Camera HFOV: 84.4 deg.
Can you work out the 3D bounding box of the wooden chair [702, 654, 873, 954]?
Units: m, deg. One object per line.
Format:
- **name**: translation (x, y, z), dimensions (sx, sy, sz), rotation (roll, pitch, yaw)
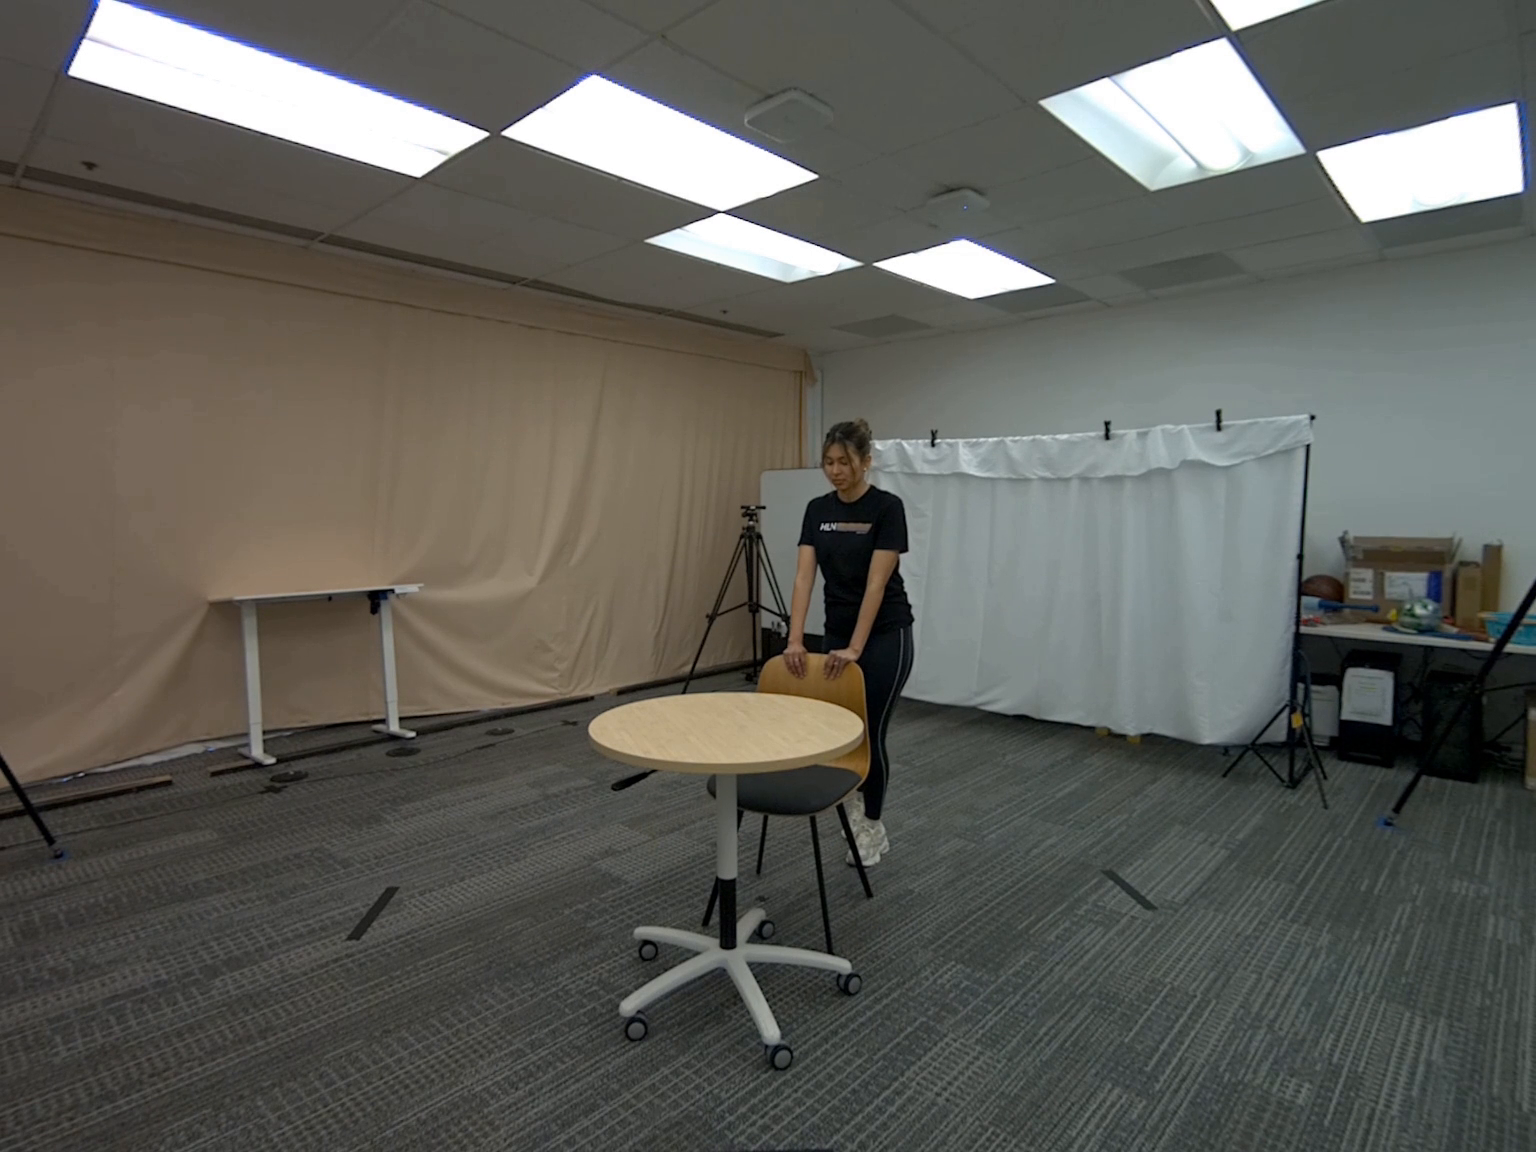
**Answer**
- **wooden chair**: translation (0.077, 0.724, 2.851), dimensions (0.490, 0.878, 0.509), rotation (1, -1, 25)
